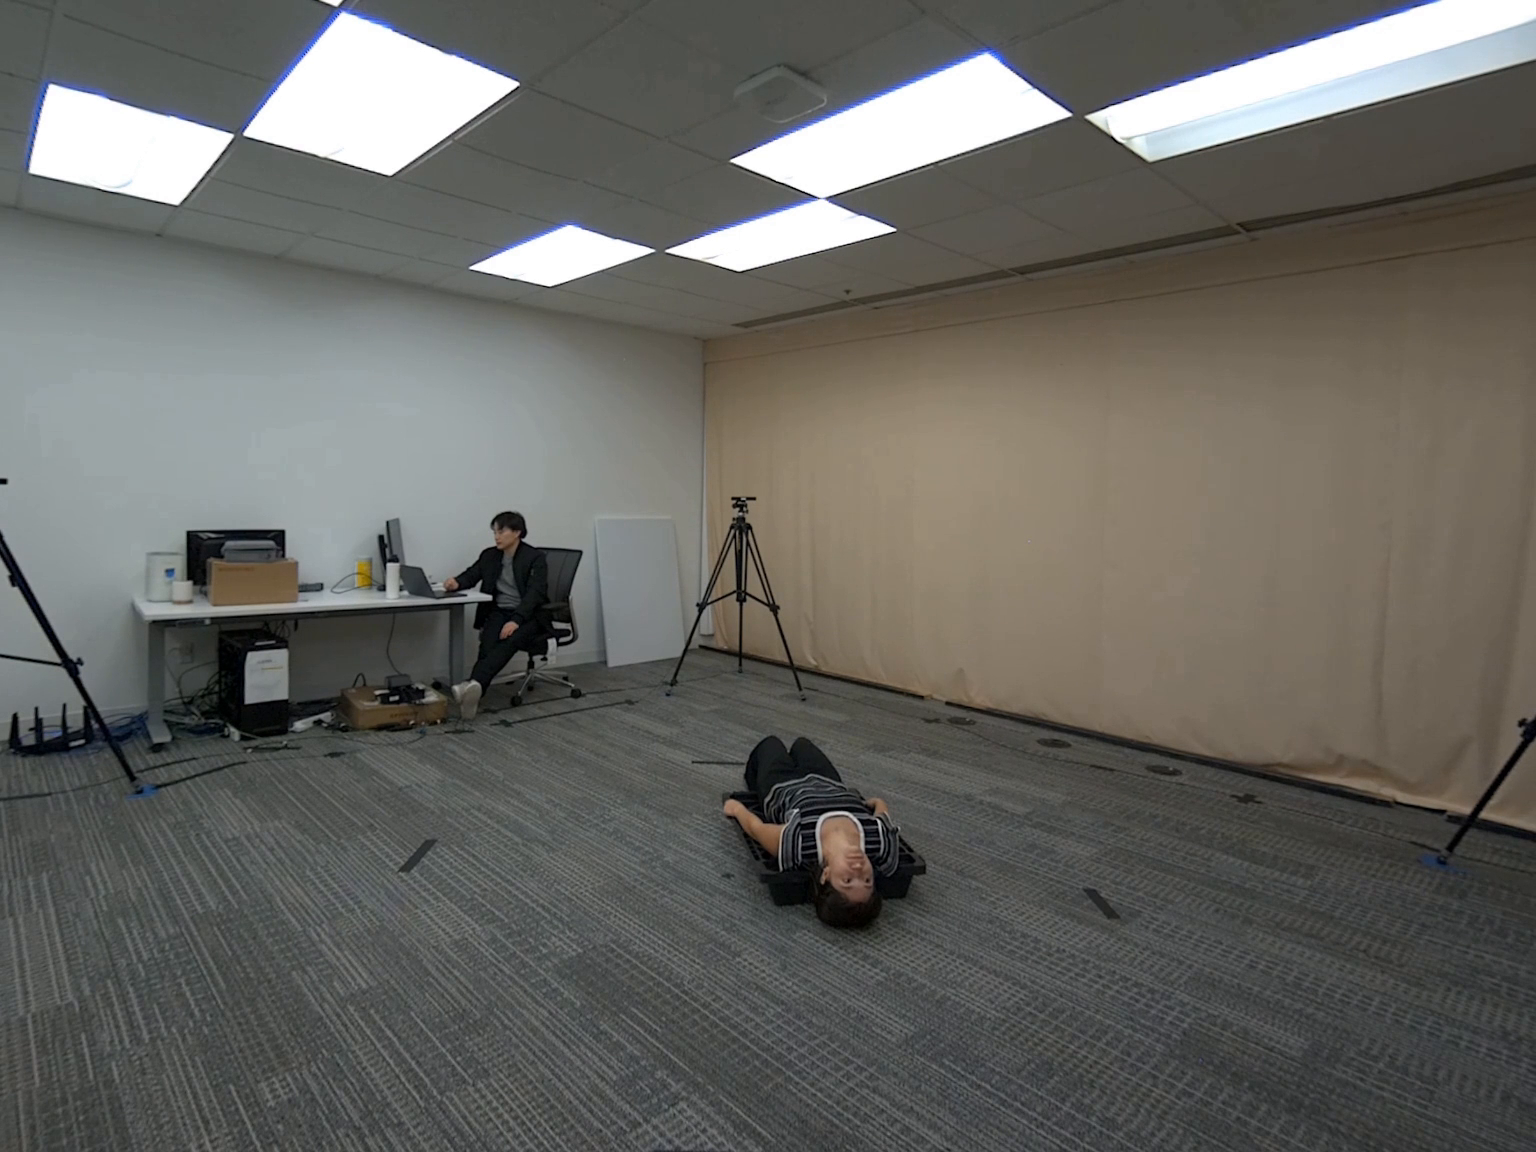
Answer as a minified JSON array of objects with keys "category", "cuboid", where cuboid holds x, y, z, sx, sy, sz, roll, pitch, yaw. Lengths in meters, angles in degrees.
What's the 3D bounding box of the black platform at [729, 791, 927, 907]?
[{"category":"black platform","cuboid":[0.177,1.034,3.284,0.600,0.143,0.815,-1,5,-12]}]
